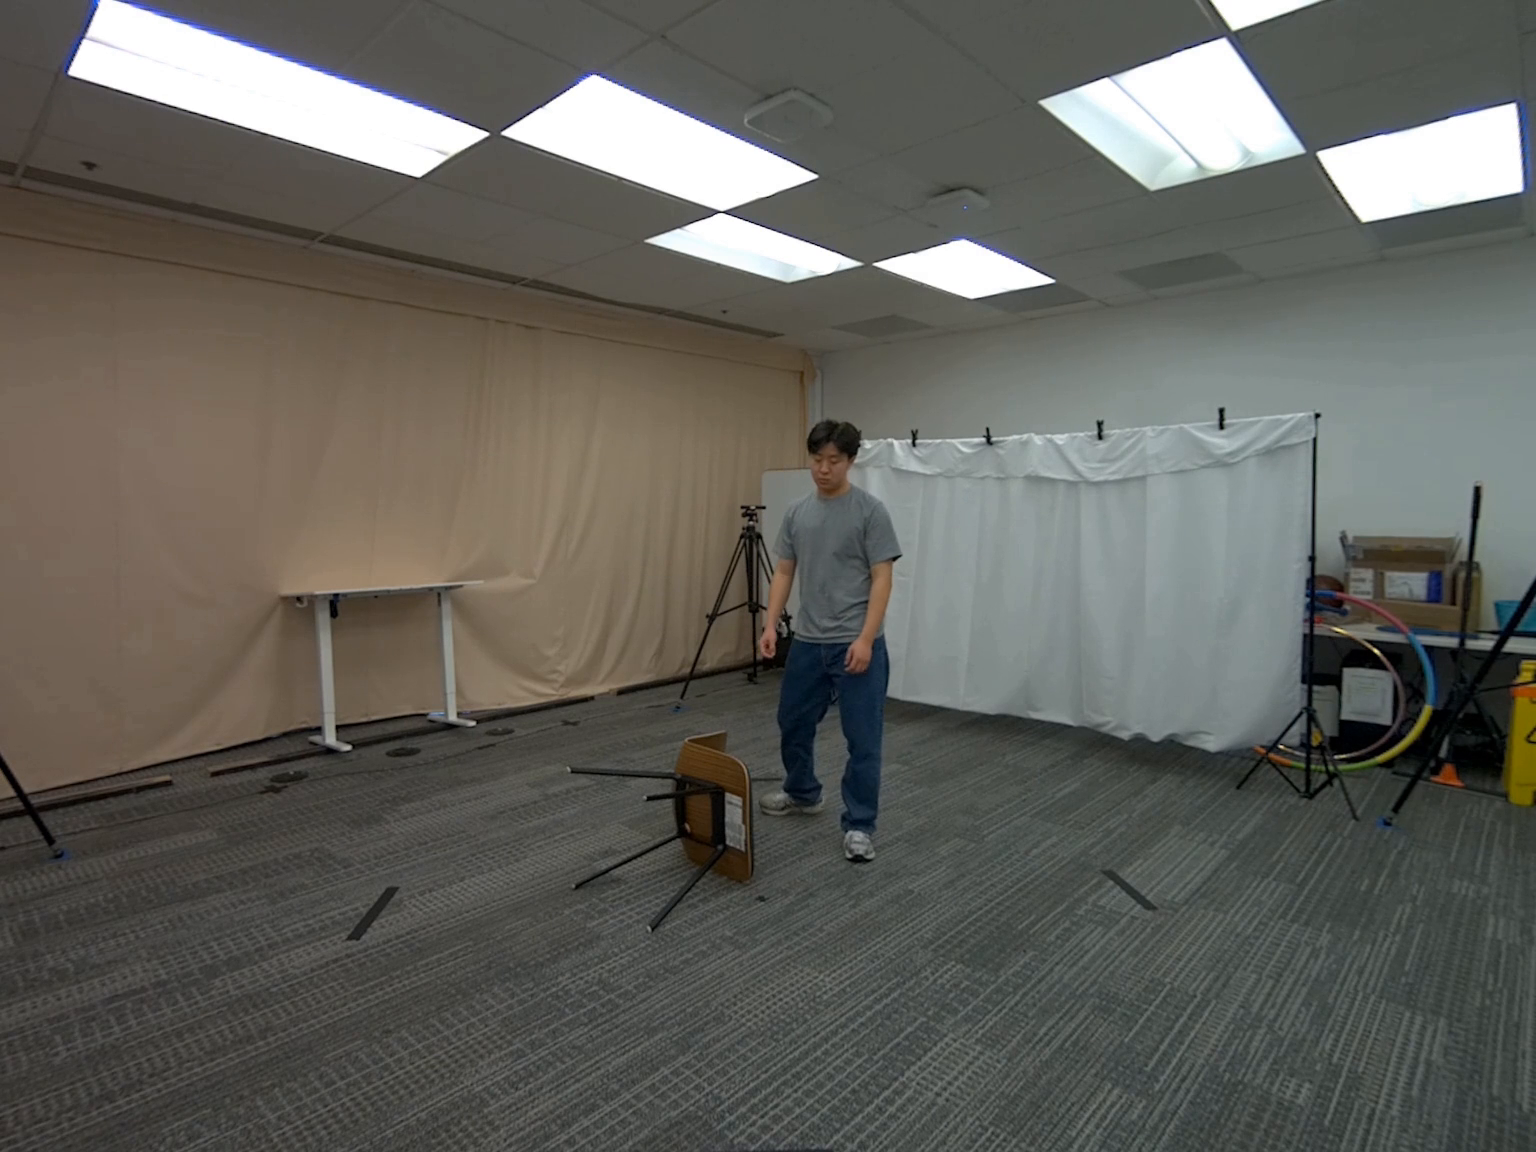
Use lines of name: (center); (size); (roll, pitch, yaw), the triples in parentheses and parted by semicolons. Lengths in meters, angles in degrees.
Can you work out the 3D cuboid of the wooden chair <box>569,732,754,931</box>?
wooden chair: (-0.257, 0.896, 3.181); (0.540, 0.477, 0.851); (2, 6, 40)
